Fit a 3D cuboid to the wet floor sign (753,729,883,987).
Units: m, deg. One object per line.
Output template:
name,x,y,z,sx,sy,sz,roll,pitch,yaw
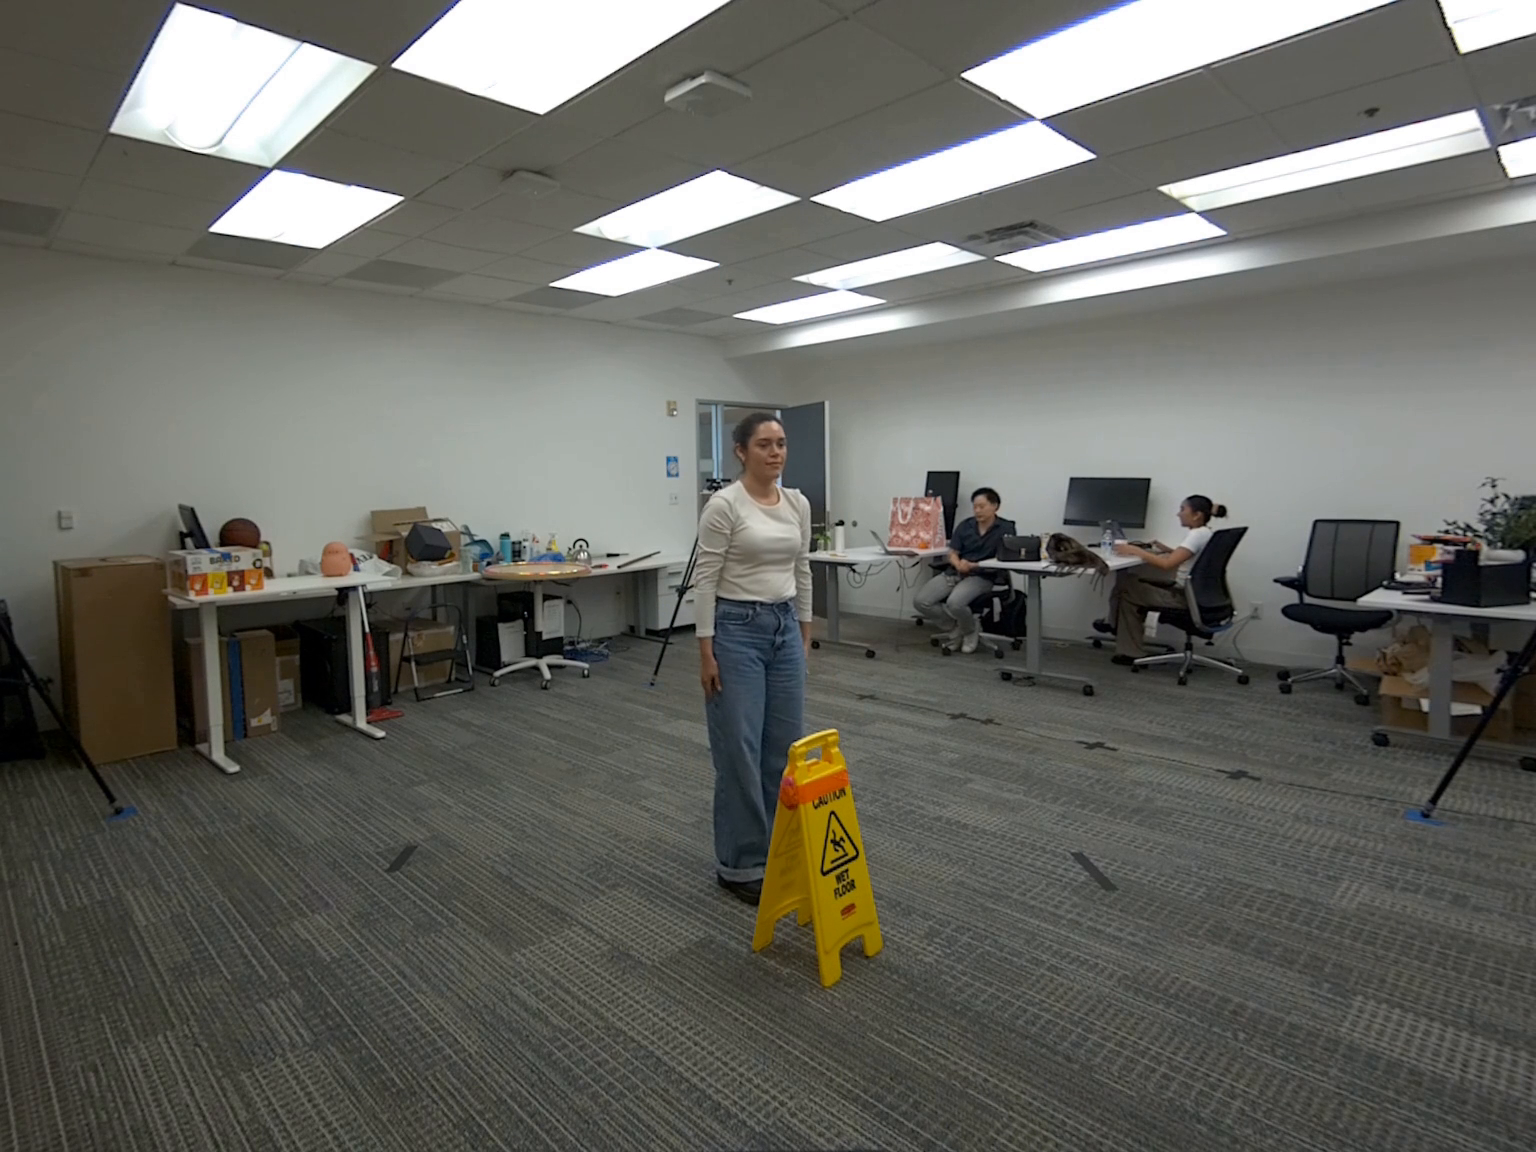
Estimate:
wet floor sign,0.138,0.789,2.515,0.298,0.644,0.275,1,4,43
